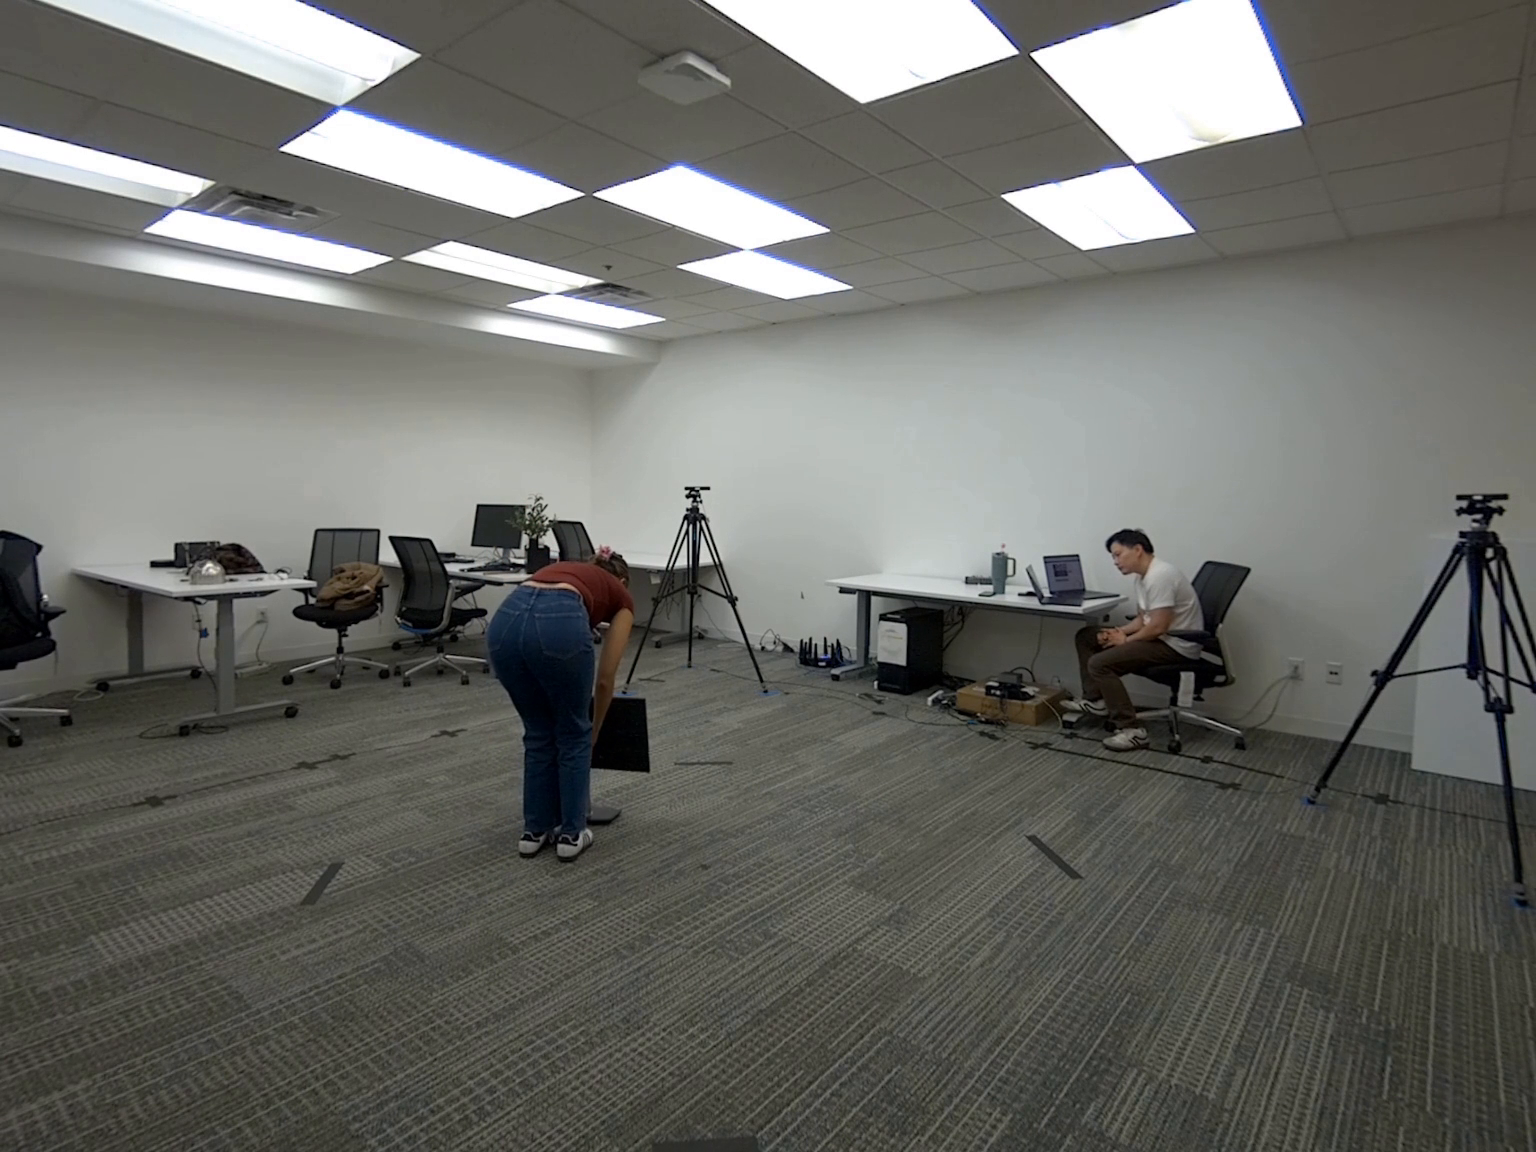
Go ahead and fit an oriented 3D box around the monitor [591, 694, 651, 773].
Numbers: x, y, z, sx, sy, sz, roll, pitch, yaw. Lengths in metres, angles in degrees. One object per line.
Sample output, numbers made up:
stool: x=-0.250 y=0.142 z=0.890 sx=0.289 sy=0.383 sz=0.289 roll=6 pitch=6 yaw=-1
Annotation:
monitor: x=-0.781 y=0.753 z=3.568 sx=0.545 sy=0.521 sz=0.186 roll=1 pitch=3 yaw=9
